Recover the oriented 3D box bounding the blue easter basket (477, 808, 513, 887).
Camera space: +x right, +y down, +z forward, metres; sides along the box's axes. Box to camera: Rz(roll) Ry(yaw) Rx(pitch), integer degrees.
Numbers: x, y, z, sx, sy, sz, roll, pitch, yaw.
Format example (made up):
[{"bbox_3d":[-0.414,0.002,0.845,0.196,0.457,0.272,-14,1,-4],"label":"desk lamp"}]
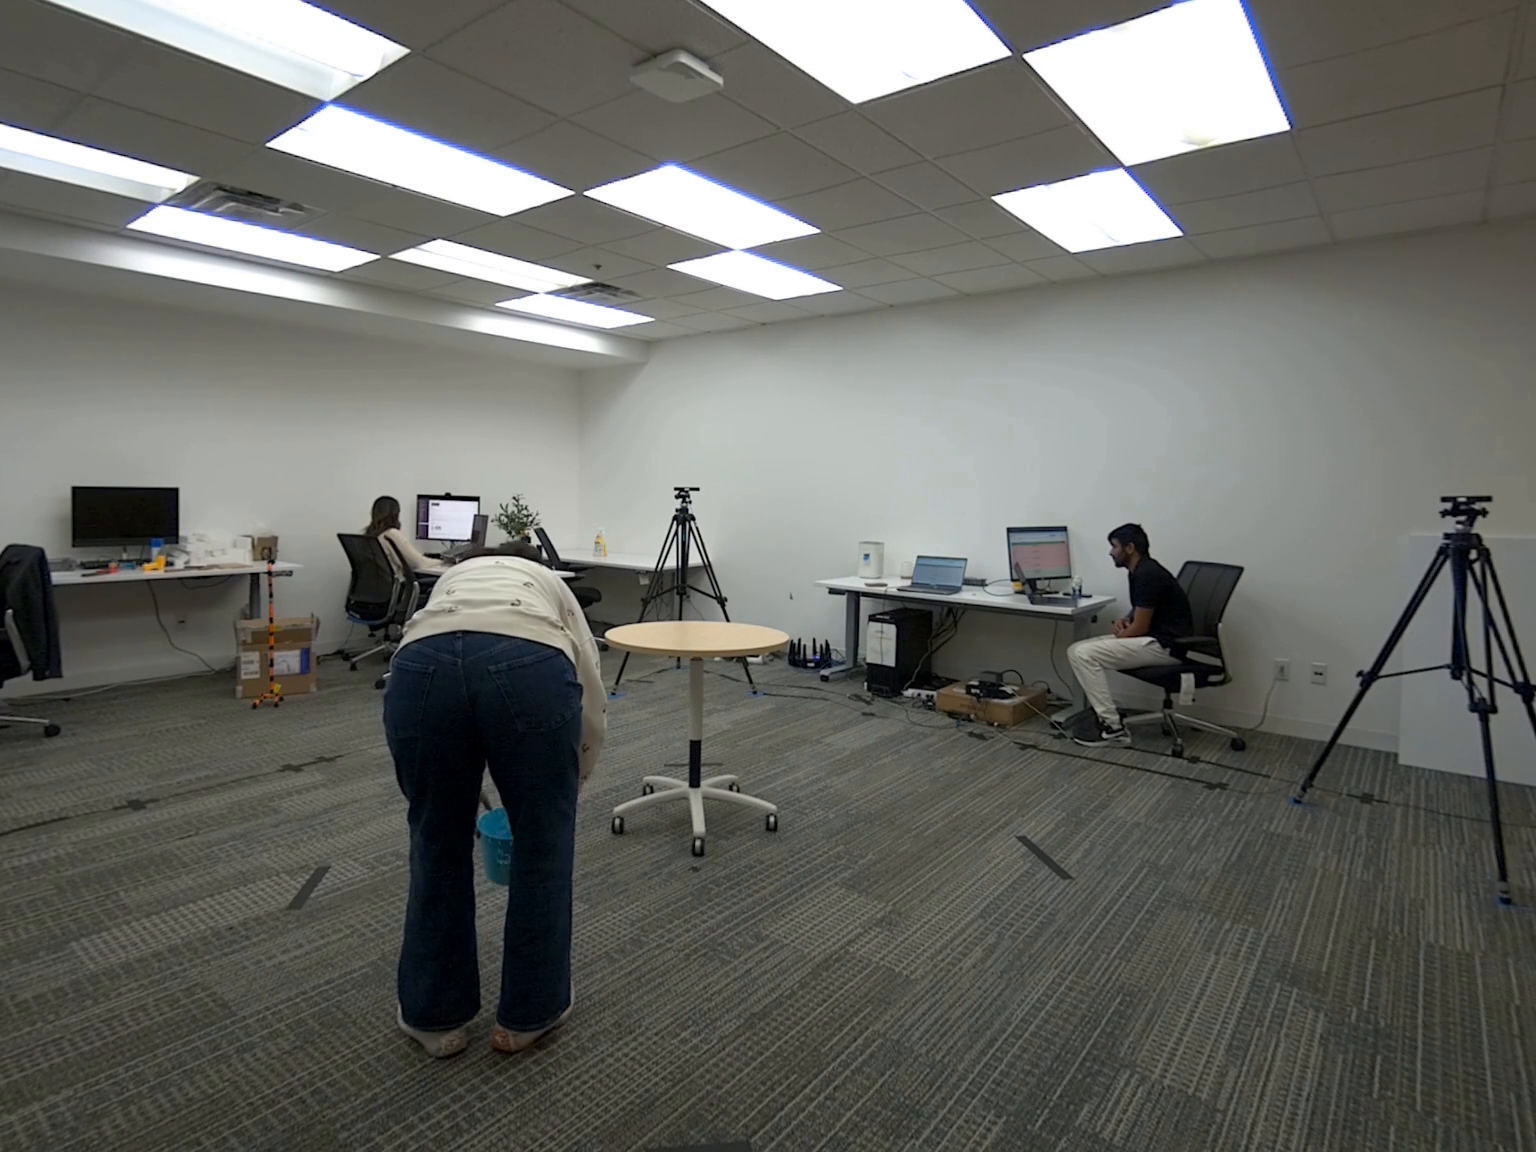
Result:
[{"bbox_3d":[-0.743,0.790,2.489,0.243,0.155,0.246,2,9,-2],"label":"blue easter basket"}]
